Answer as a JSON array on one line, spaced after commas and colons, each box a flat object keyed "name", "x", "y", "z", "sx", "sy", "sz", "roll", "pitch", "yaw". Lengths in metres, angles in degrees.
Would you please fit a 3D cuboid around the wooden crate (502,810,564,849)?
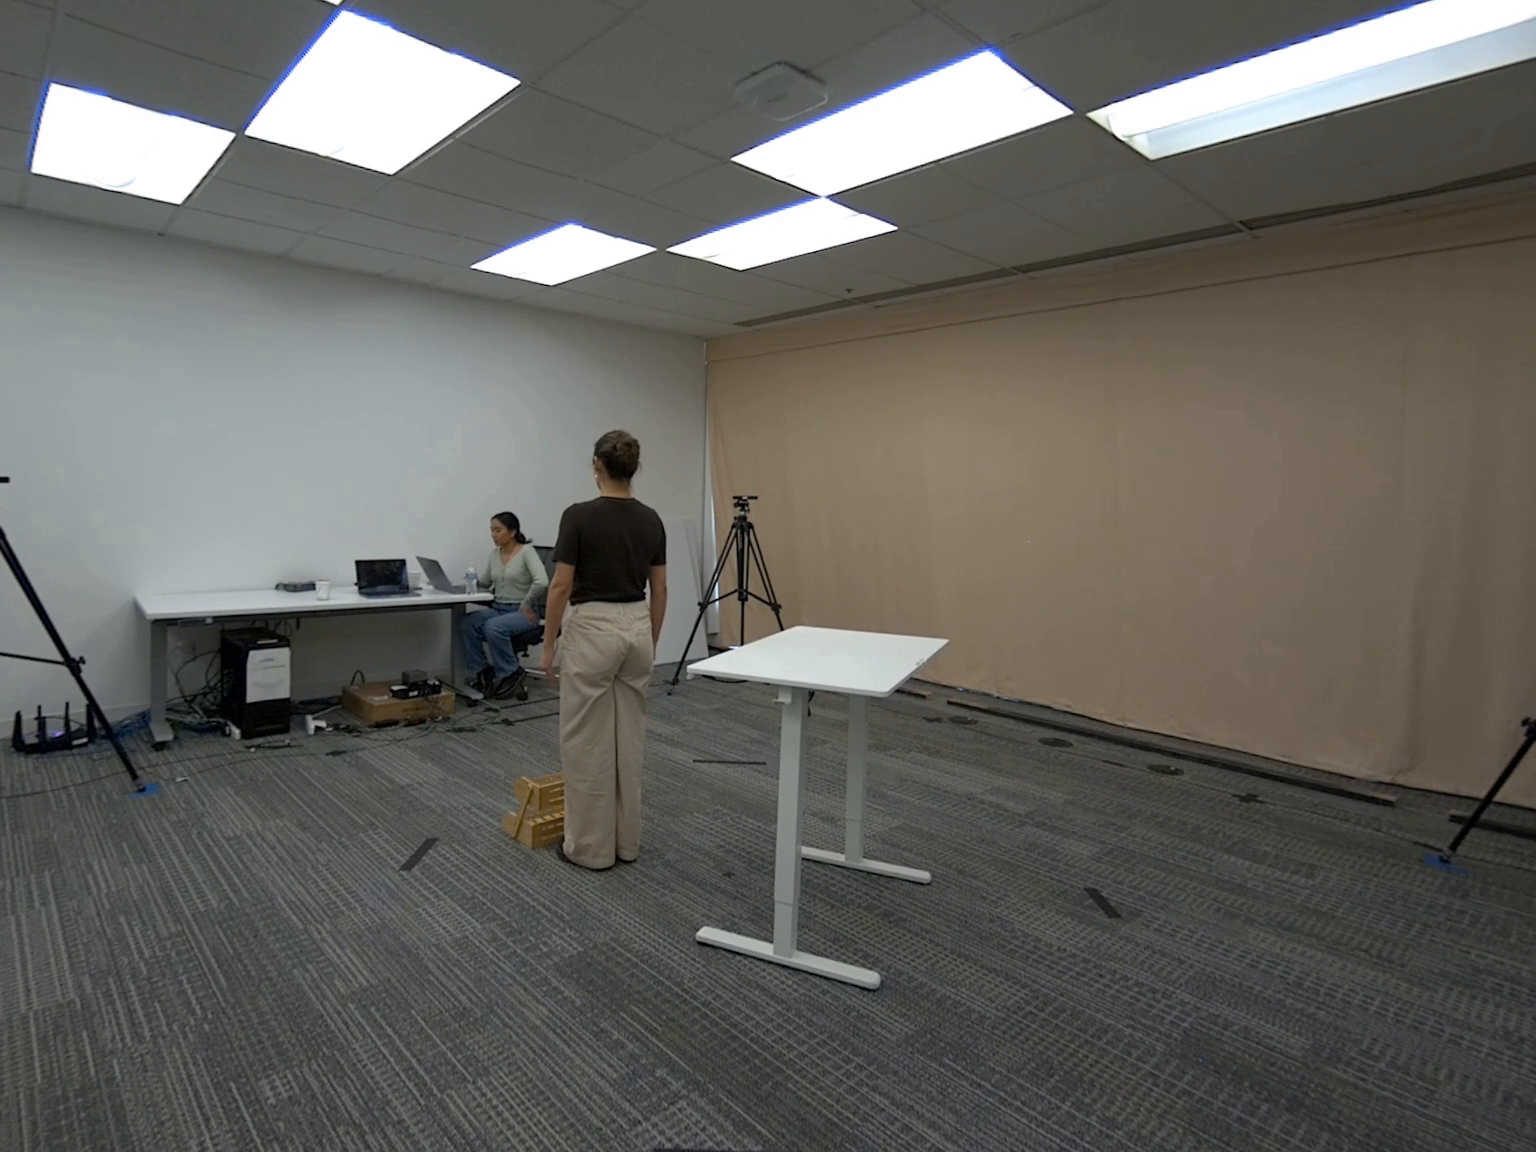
[{"name": "wooden crate", "x": -0.896, "y": 0.925, "z": 3.461, "sx": 0.317, "sy": 0.272, "sz": 0.310, "roll": -3, "pitch": 7, "yaw": -44}]
